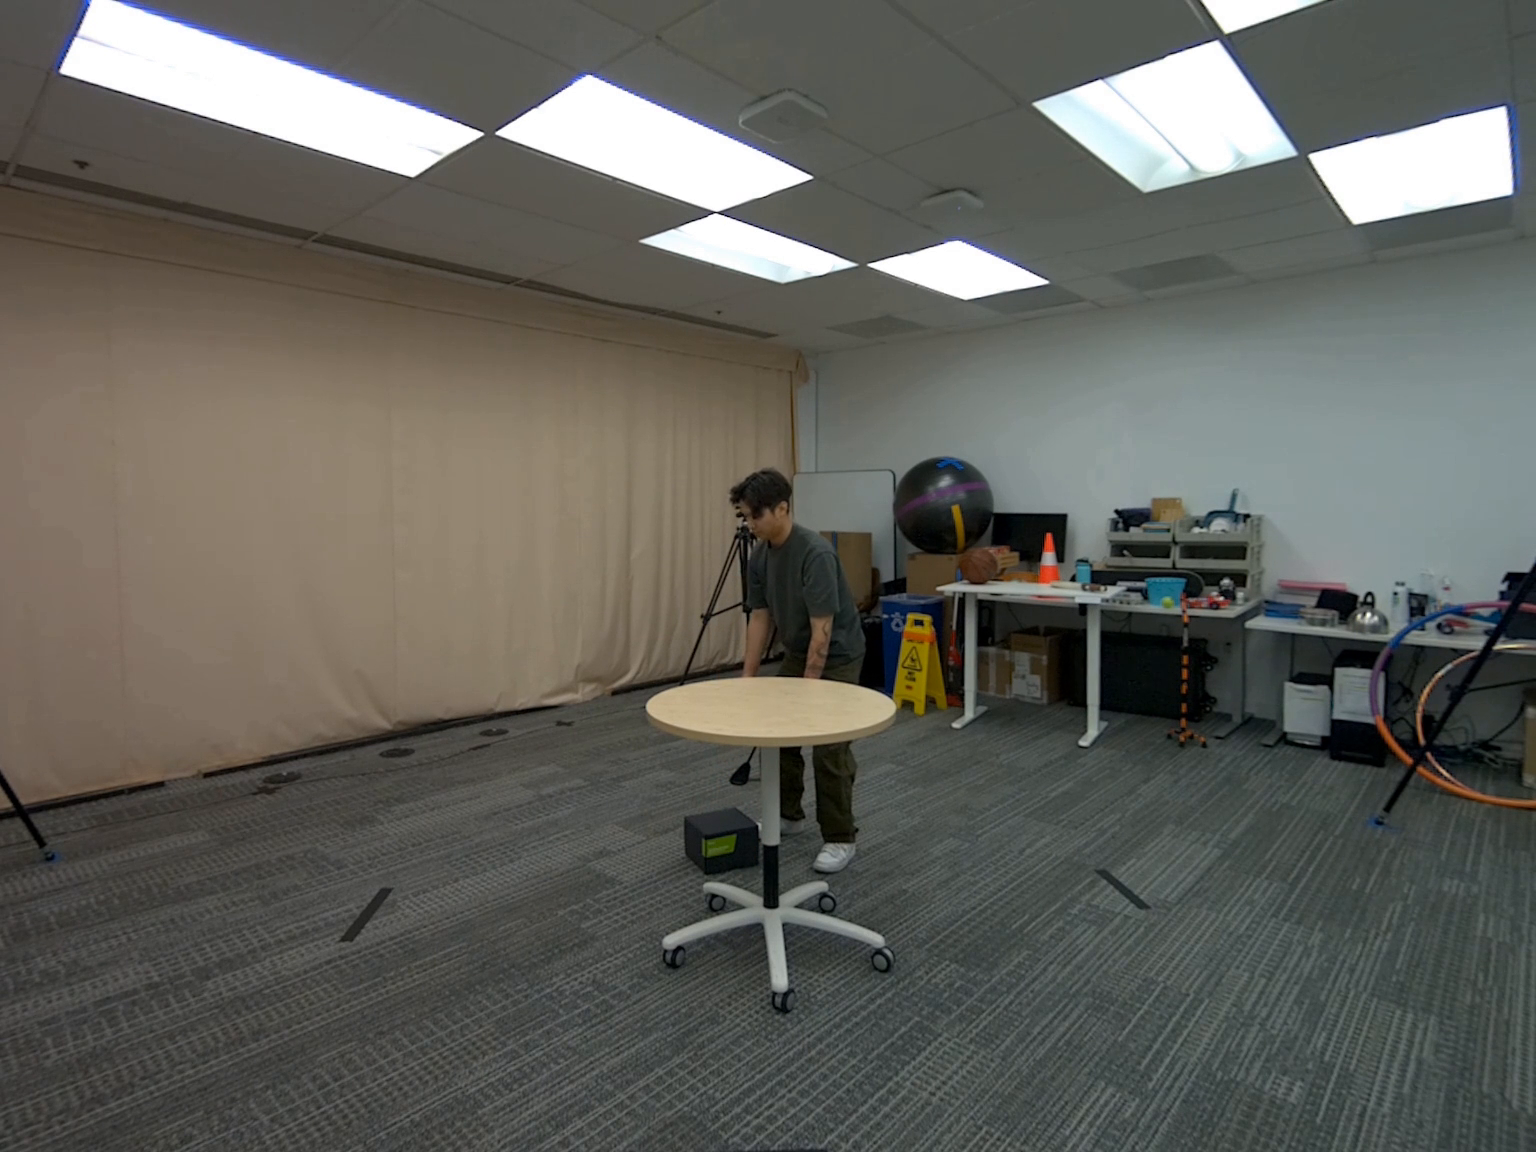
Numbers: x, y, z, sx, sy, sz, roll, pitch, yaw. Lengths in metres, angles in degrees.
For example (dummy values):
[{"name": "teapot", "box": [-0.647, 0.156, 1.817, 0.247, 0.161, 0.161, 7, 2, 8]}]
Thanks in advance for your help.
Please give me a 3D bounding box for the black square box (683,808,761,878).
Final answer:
[{"name": "black square box", "box": [-0.182, 1.035, 3.309, 0.222, 0.155, 0.223, -3, 5, -27]}]
